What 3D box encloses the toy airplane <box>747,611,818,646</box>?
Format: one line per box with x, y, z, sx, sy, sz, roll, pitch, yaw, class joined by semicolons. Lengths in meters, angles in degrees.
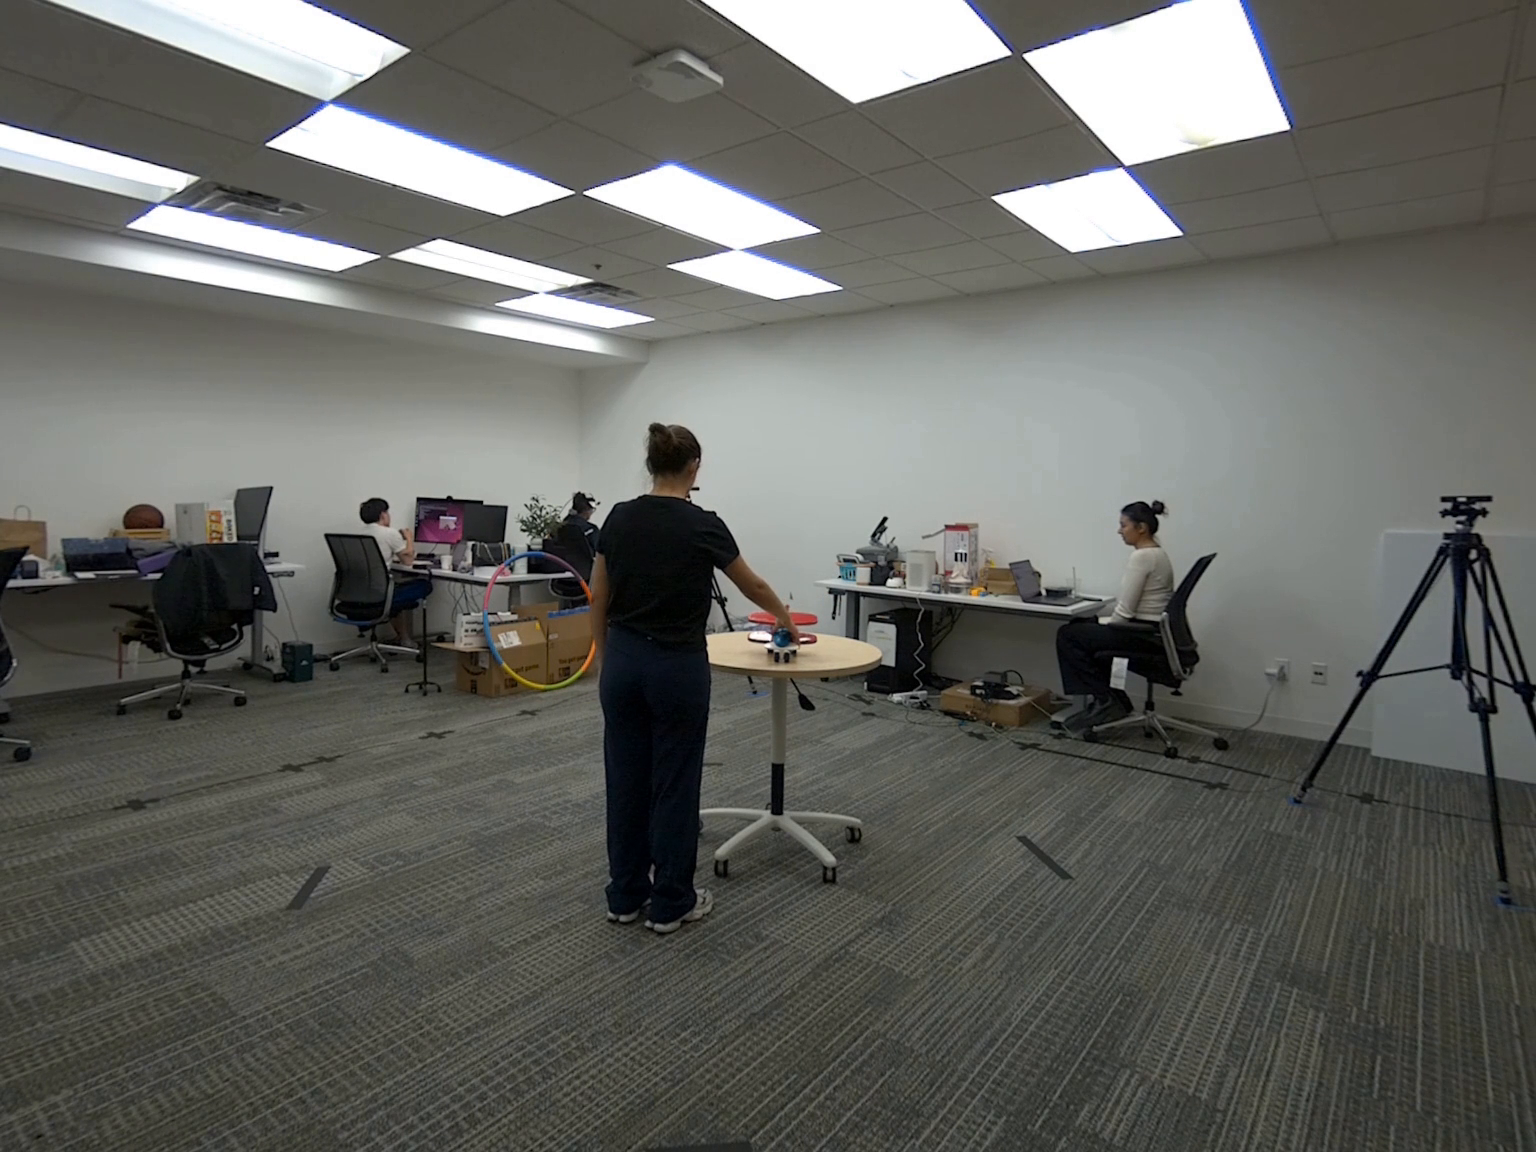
0.097;0.211;3.107;0.245;0.156;0.267;-4;6;-30;toy airplane
